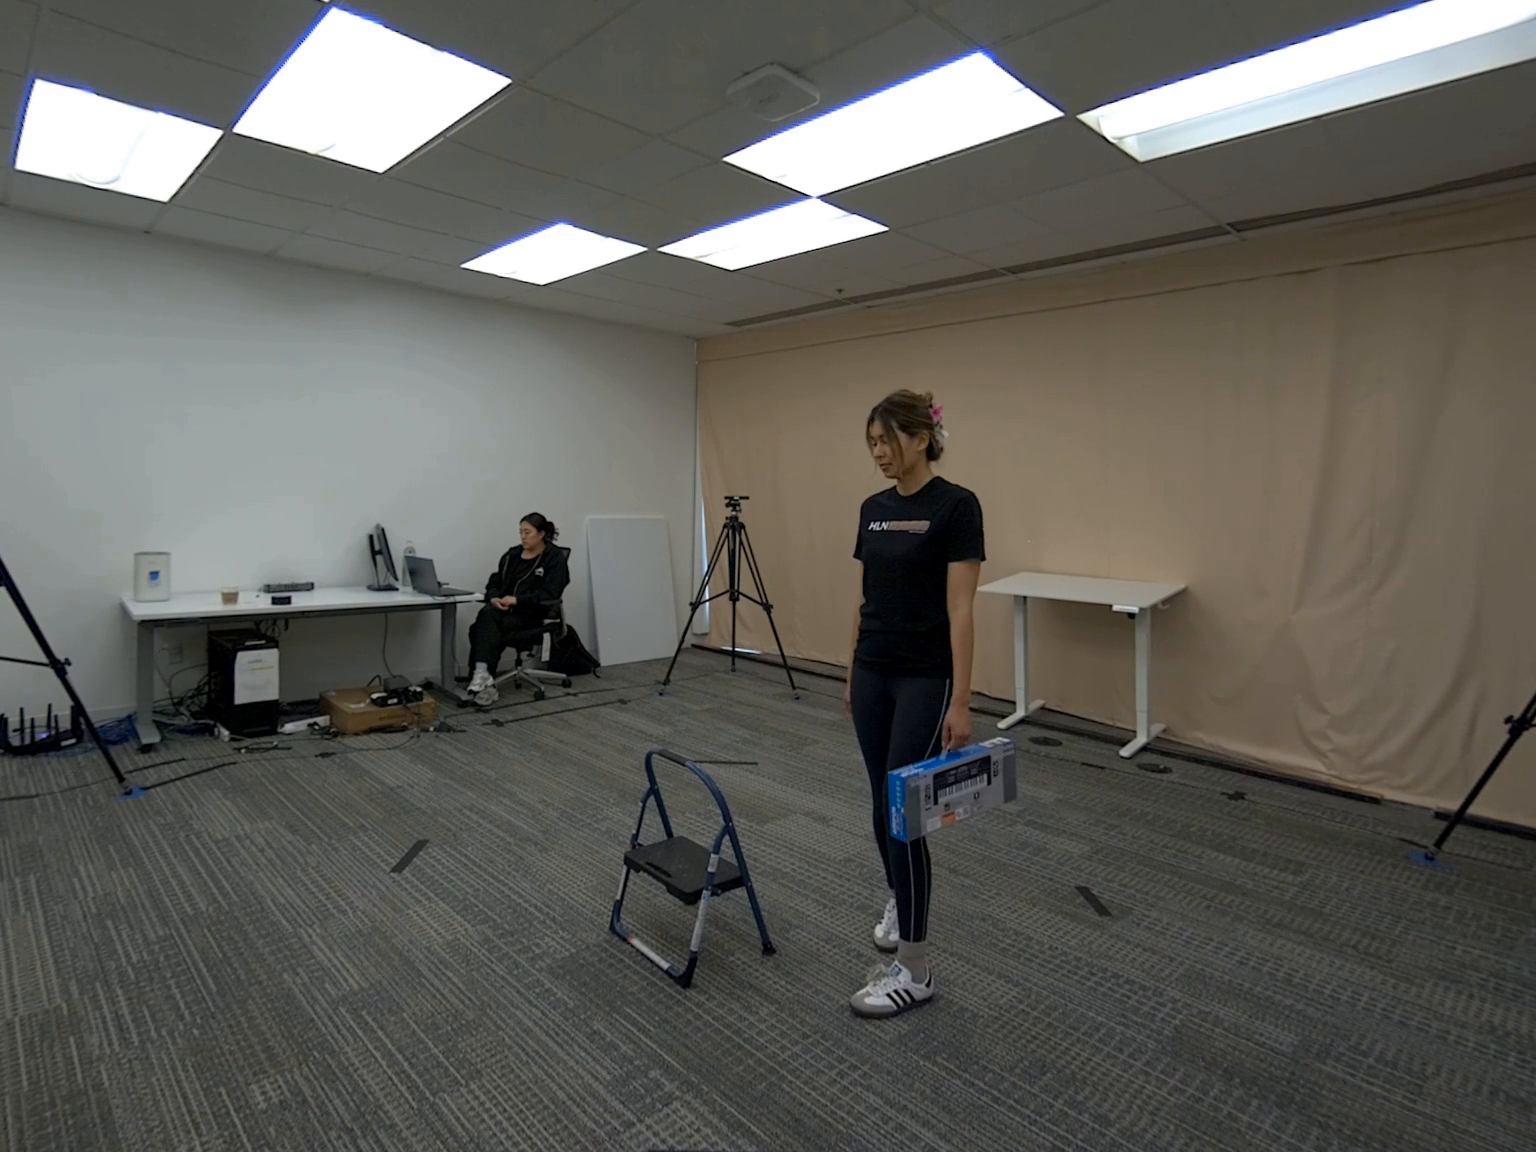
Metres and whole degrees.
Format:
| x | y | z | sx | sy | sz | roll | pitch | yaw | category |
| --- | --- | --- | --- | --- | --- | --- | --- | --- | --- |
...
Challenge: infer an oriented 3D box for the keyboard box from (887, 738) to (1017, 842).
| x | y | z | sx | sy | sz | roll | pitch | yaw | category |
| --- | --- | --- | --- | --- | --- | --- | --- | --- | --- |
| 0.502 | 0.570 | 2.271 | 0.428 | 0.175 | 0.060 | -8 | 7 | -35 | keyboard box |
